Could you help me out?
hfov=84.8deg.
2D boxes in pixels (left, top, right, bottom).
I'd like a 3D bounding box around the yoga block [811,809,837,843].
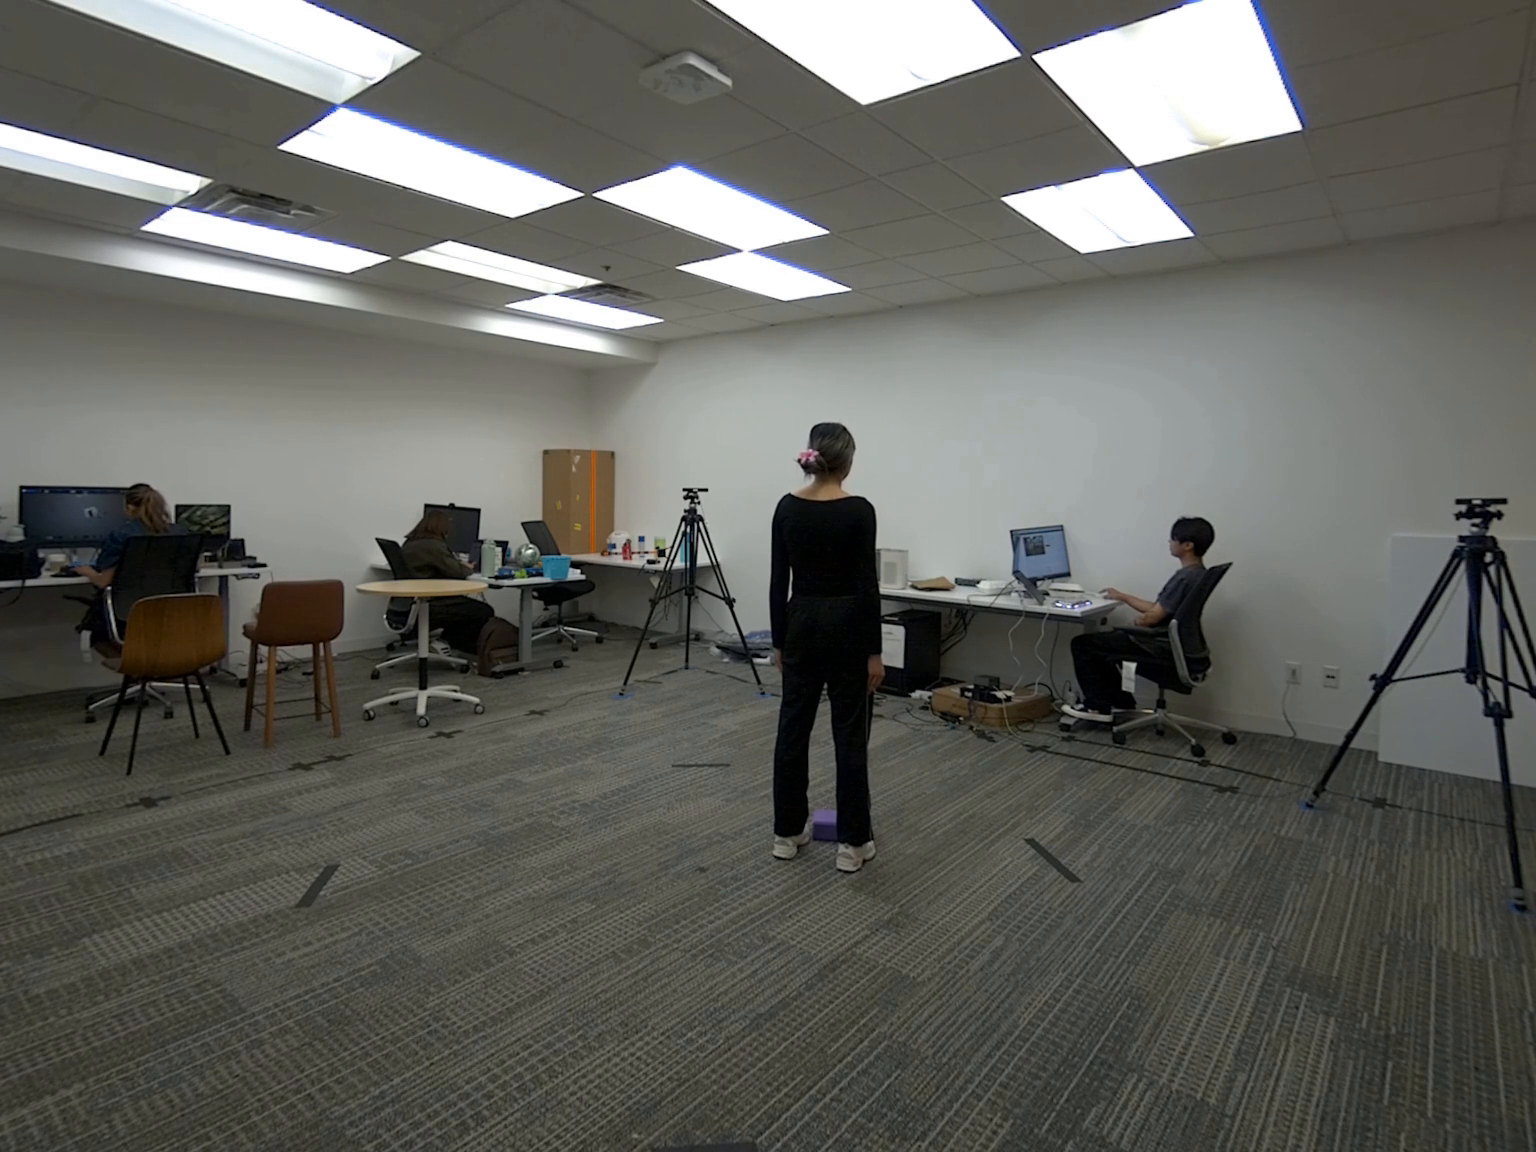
[{"bbox_3d":[0.287,1.005,3.442,0.232,0.076,0.148,1,6,8],"label":"yoga block"}]
